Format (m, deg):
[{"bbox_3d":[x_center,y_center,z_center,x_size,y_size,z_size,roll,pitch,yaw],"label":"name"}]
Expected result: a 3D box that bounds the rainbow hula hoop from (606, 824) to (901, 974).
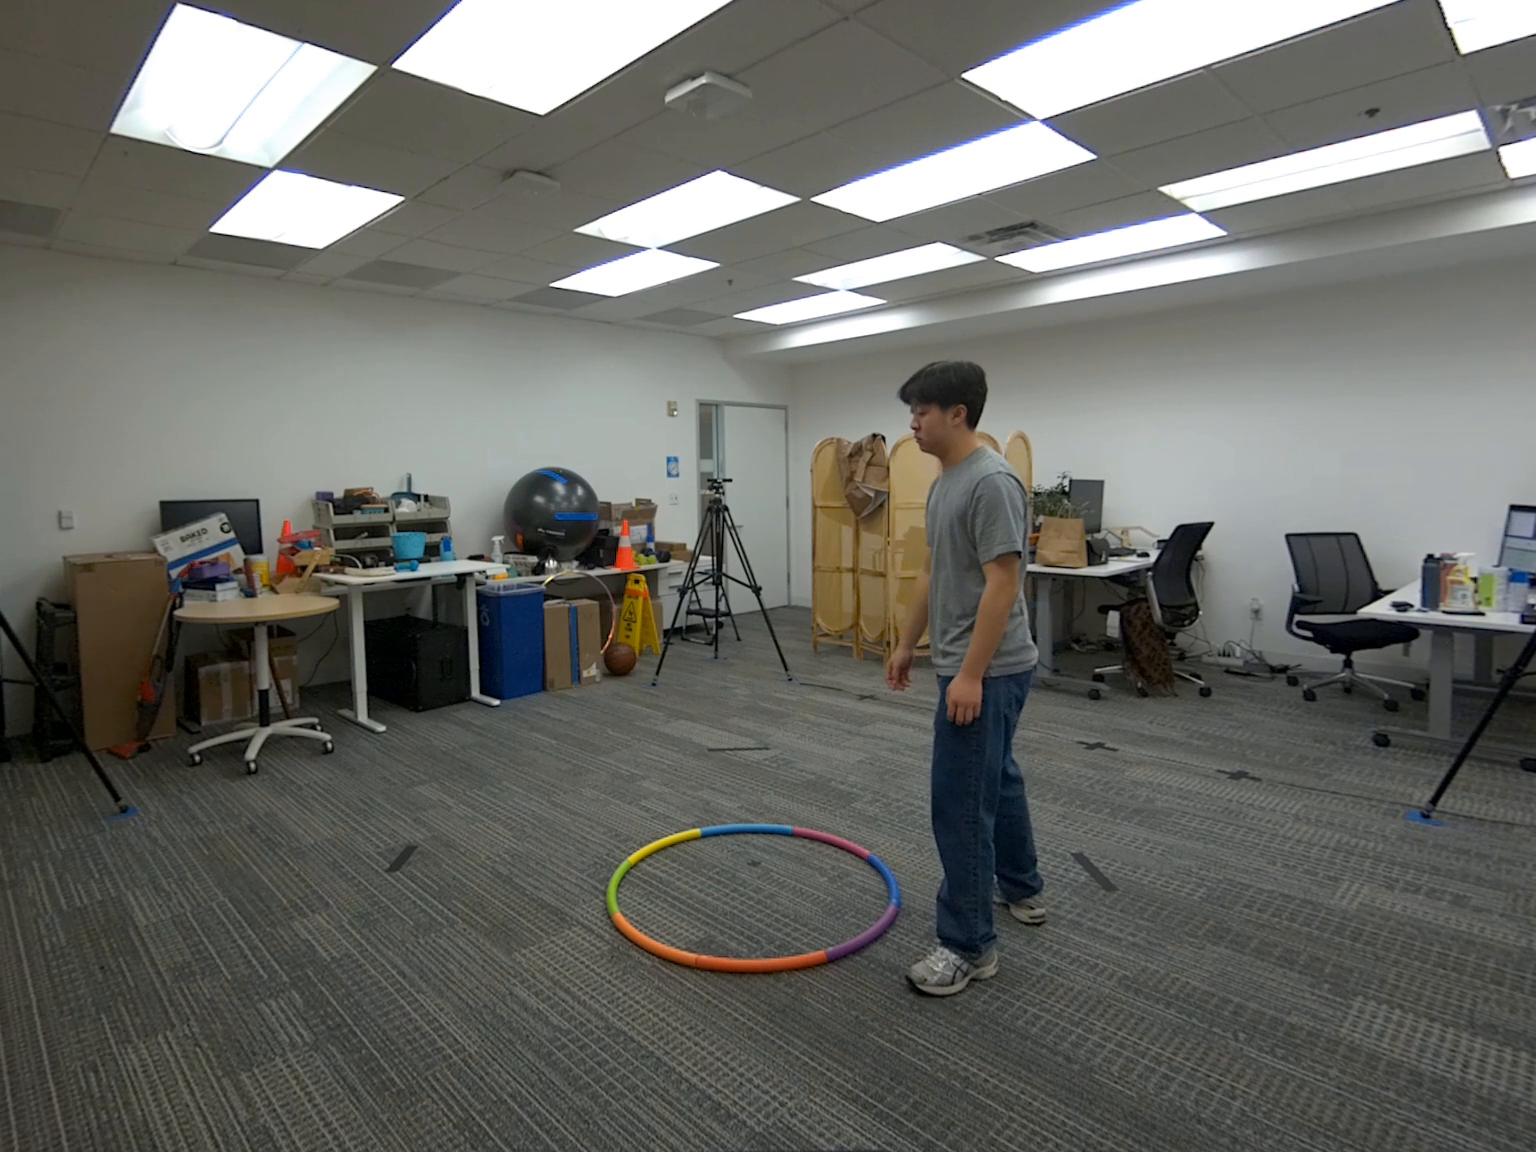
[{"bbox_3d":[-0.053,1.037,2.900,0.978,0.035,0.984,-1,7,-2],"label":"rainbow hula hoop"}]
